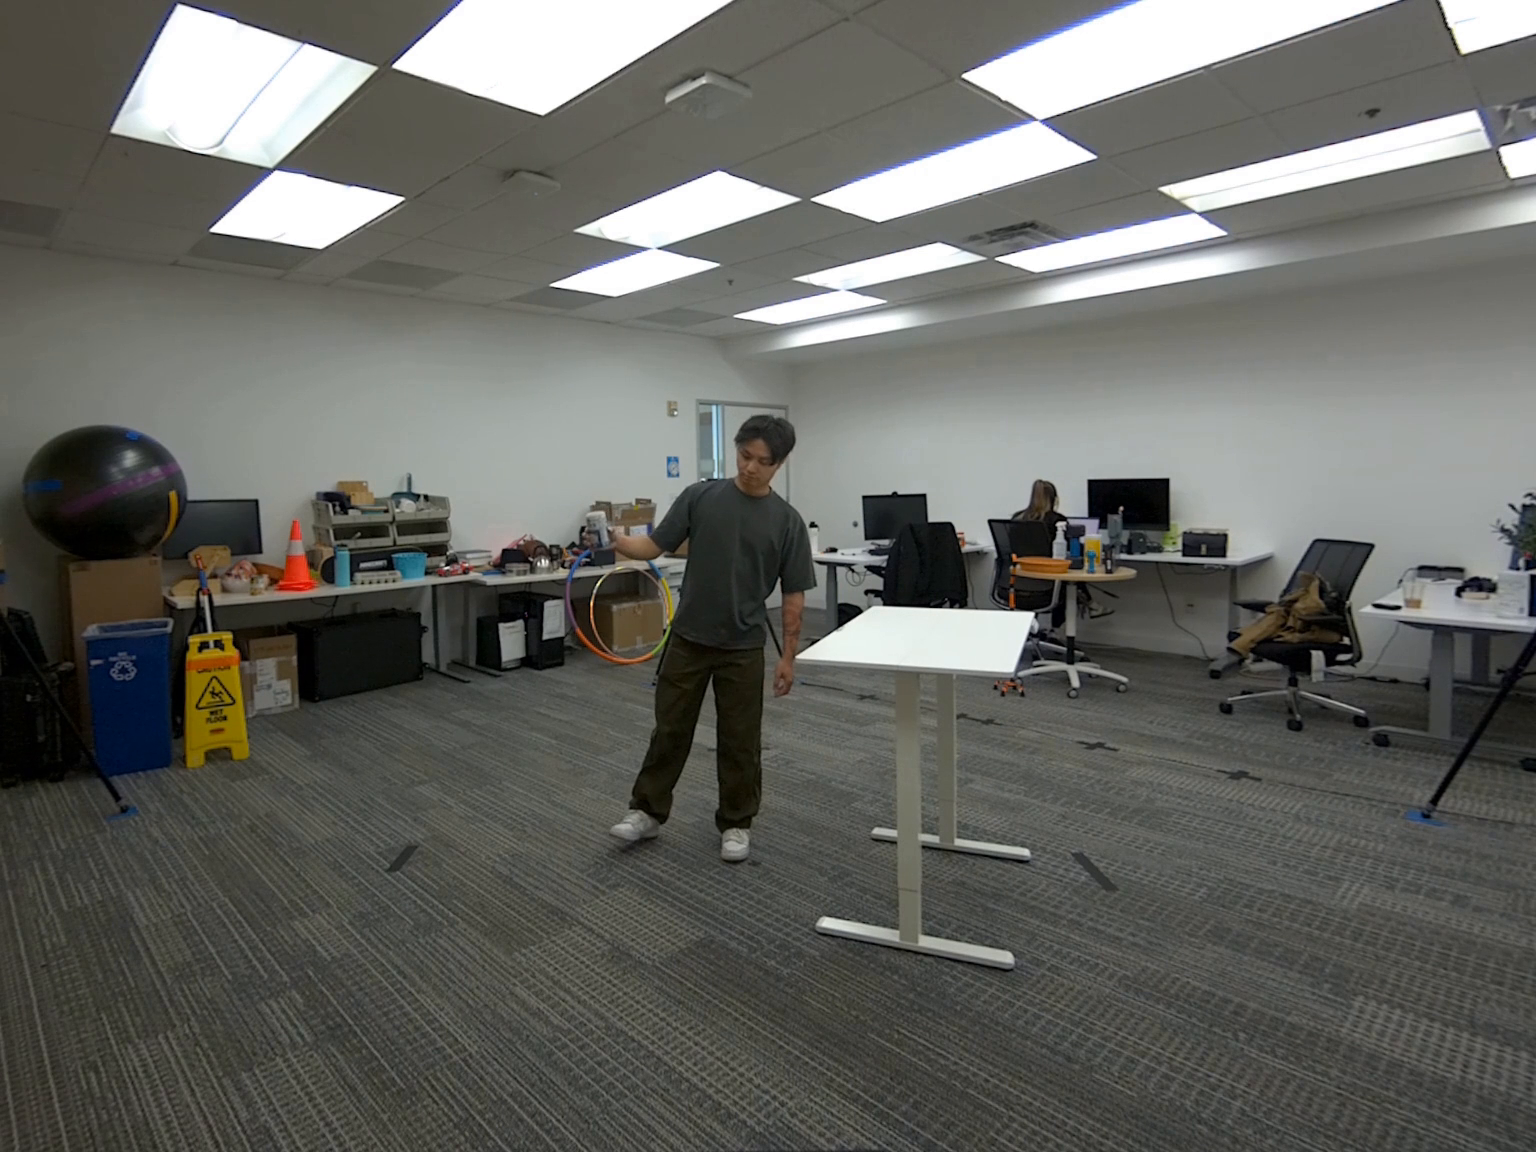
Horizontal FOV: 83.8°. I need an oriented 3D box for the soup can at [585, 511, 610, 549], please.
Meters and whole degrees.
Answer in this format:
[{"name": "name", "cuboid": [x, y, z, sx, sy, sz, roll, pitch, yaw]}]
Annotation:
[{"name": "soup can", "cuboid": [-0.578, -0.154, 2.873, 0.067, 0.120, 0.068, -3, 9, -1]}]
